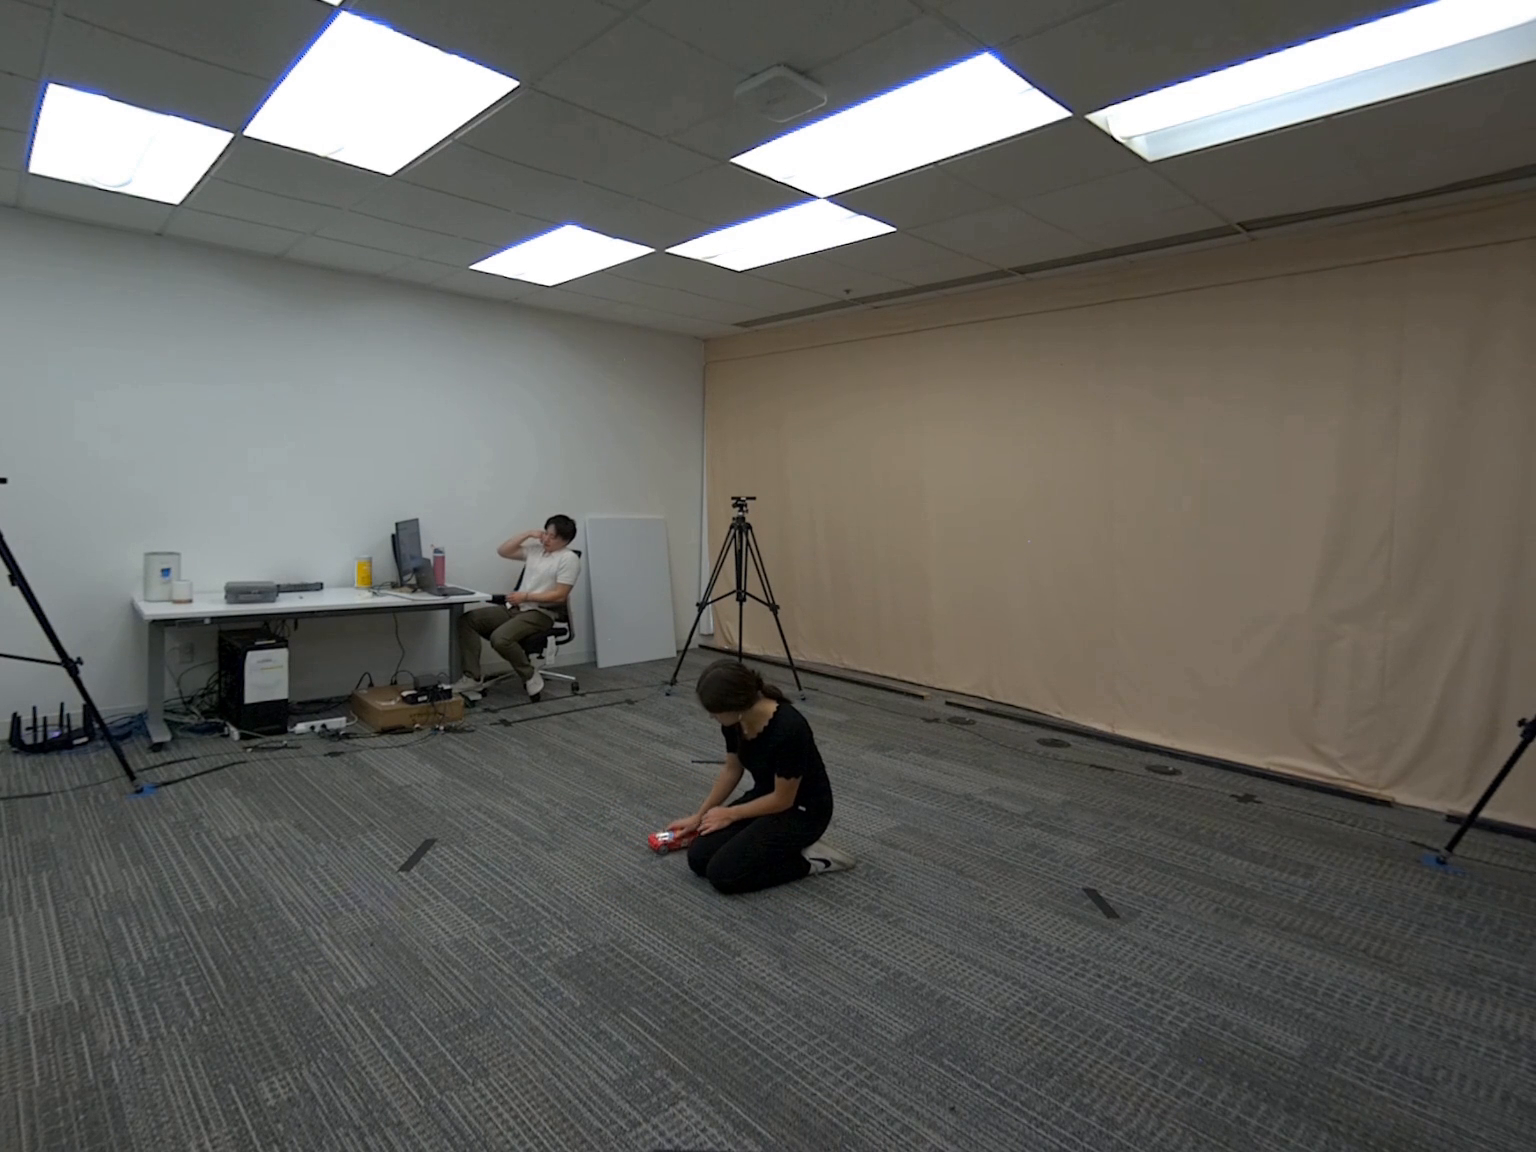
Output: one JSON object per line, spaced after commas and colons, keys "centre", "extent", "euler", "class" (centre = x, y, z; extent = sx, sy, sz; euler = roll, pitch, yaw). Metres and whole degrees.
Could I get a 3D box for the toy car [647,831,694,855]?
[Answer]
{"centre": [-0.354, 1.041, 3.355], "extent": [0.251, 0.082, 0.133], "euler": [-13, 10, -27], "class": "toy car"}
